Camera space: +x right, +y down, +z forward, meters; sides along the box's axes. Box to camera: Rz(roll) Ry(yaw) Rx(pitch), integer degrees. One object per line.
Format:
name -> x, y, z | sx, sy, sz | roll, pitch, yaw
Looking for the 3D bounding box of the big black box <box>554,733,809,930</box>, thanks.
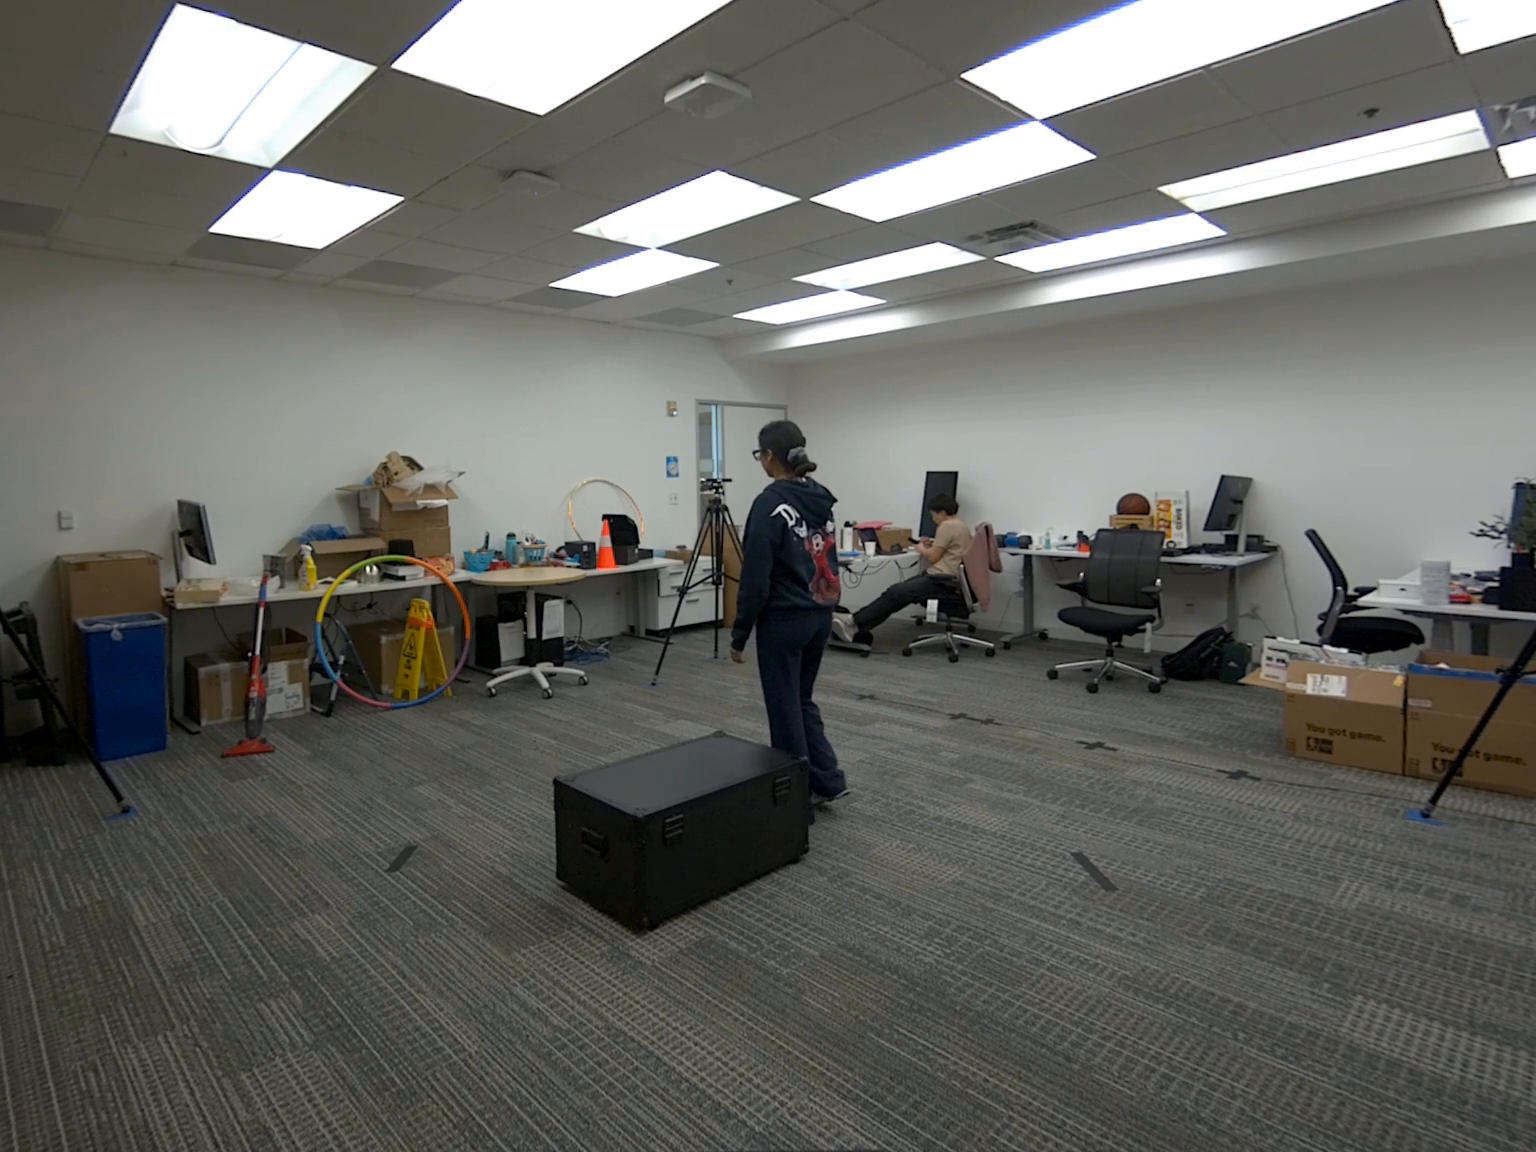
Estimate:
big black box -> -0.271, 0.864, 3.056 | 0.839, 0.394, 0.537 | -7, 9, -44
